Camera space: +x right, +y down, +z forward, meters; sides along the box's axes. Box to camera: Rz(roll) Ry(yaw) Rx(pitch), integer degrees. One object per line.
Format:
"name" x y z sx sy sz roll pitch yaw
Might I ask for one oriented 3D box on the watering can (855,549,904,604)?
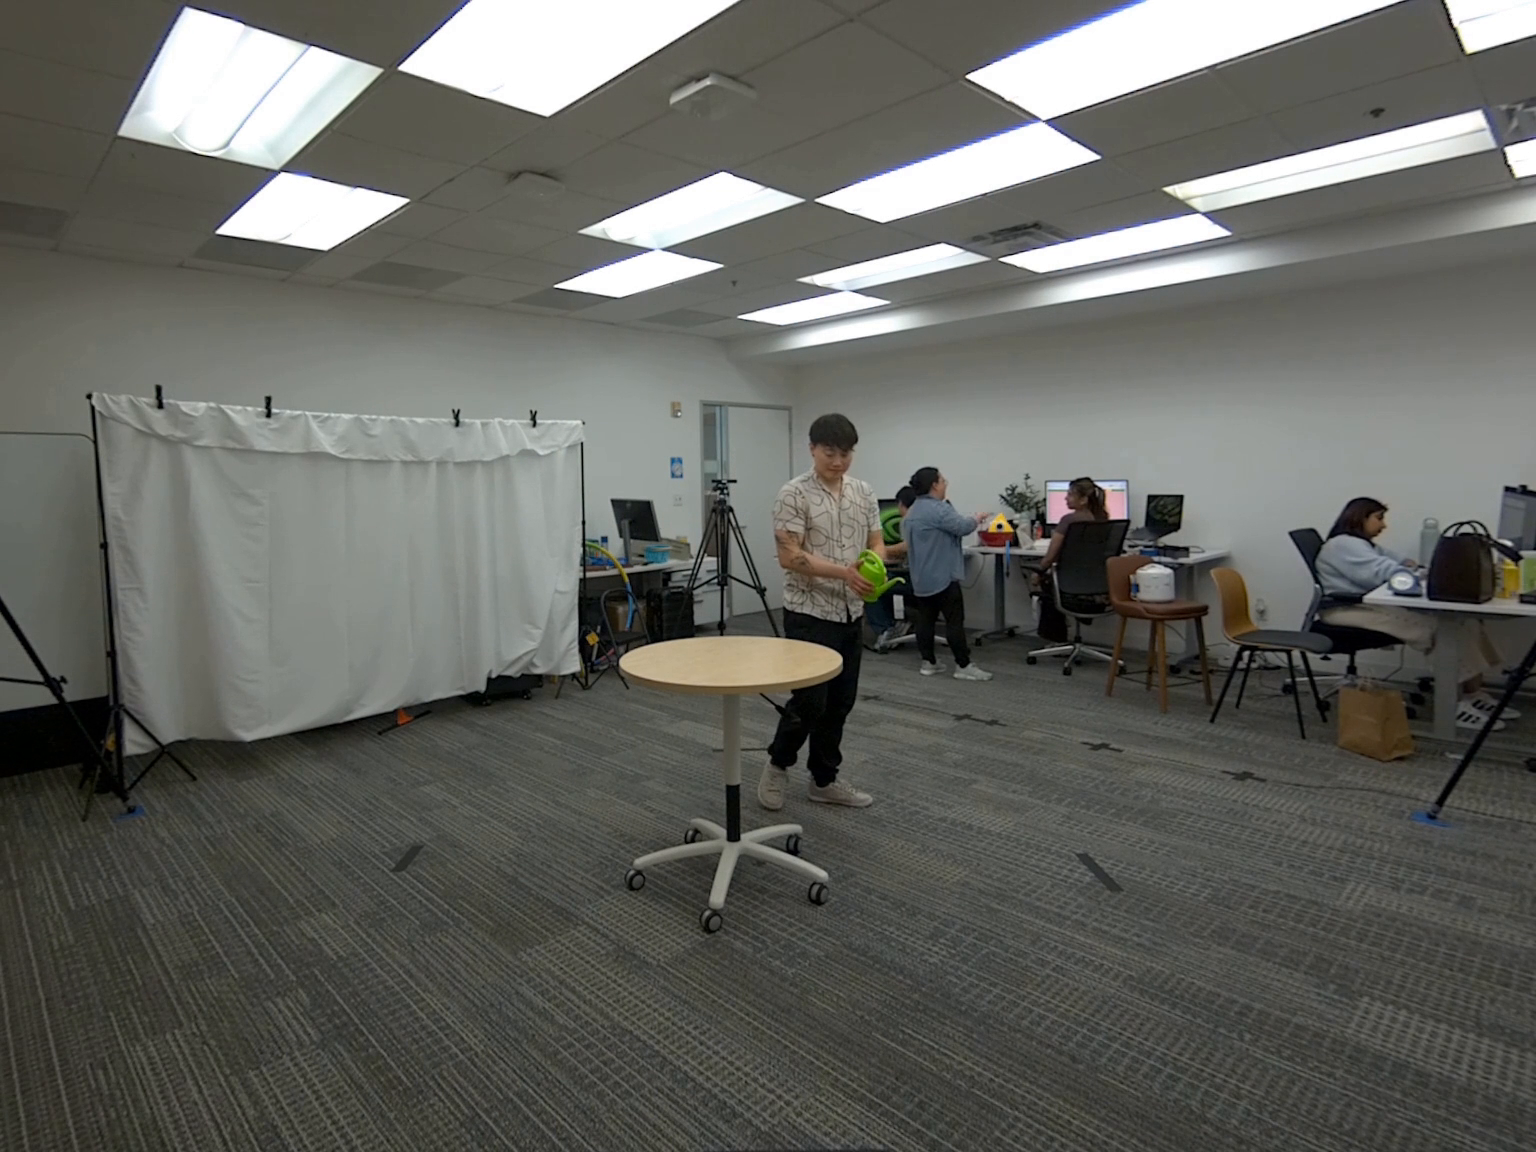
"watering can" 0.406 0.019 3.326 0.096 0.174 0.287 5 27 -15
